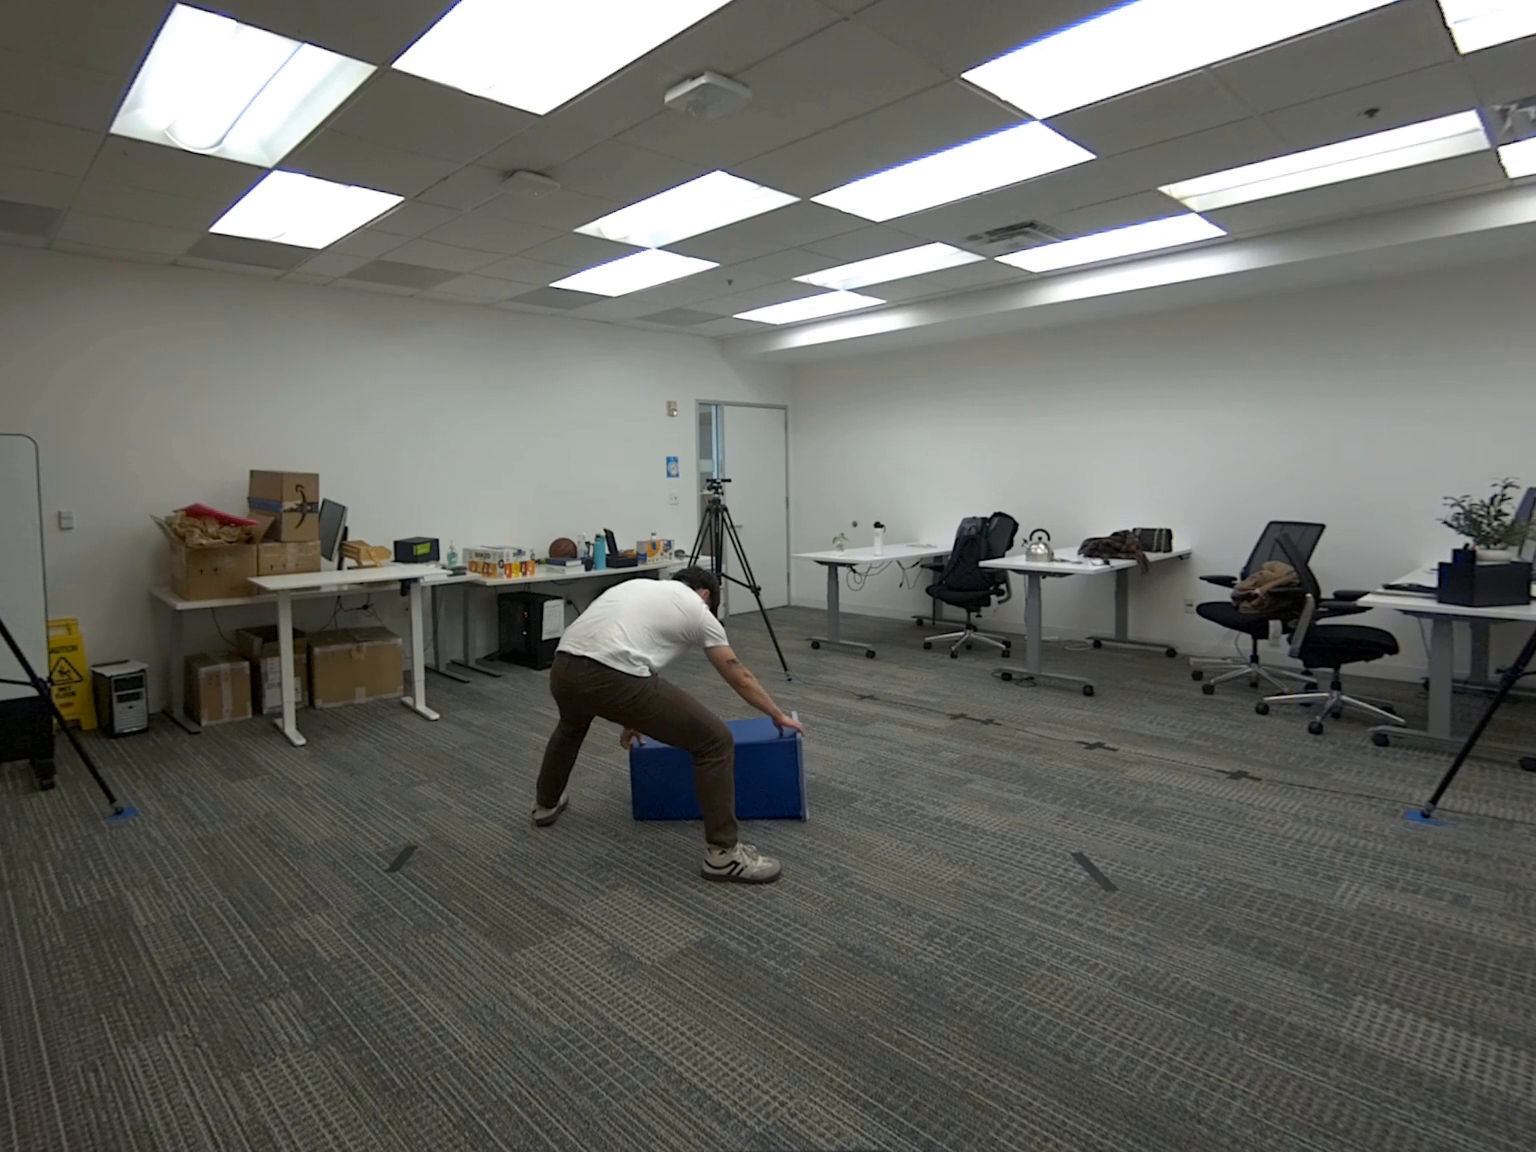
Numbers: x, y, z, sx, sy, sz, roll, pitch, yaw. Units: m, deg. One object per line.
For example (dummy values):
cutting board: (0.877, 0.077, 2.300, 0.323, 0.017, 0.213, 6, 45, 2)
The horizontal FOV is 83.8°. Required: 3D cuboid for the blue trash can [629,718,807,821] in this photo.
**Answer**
blue trash can: (-0.207, 0.817, 3.650, 0.715, 0.376, 0.375, -3, 6, 1)
